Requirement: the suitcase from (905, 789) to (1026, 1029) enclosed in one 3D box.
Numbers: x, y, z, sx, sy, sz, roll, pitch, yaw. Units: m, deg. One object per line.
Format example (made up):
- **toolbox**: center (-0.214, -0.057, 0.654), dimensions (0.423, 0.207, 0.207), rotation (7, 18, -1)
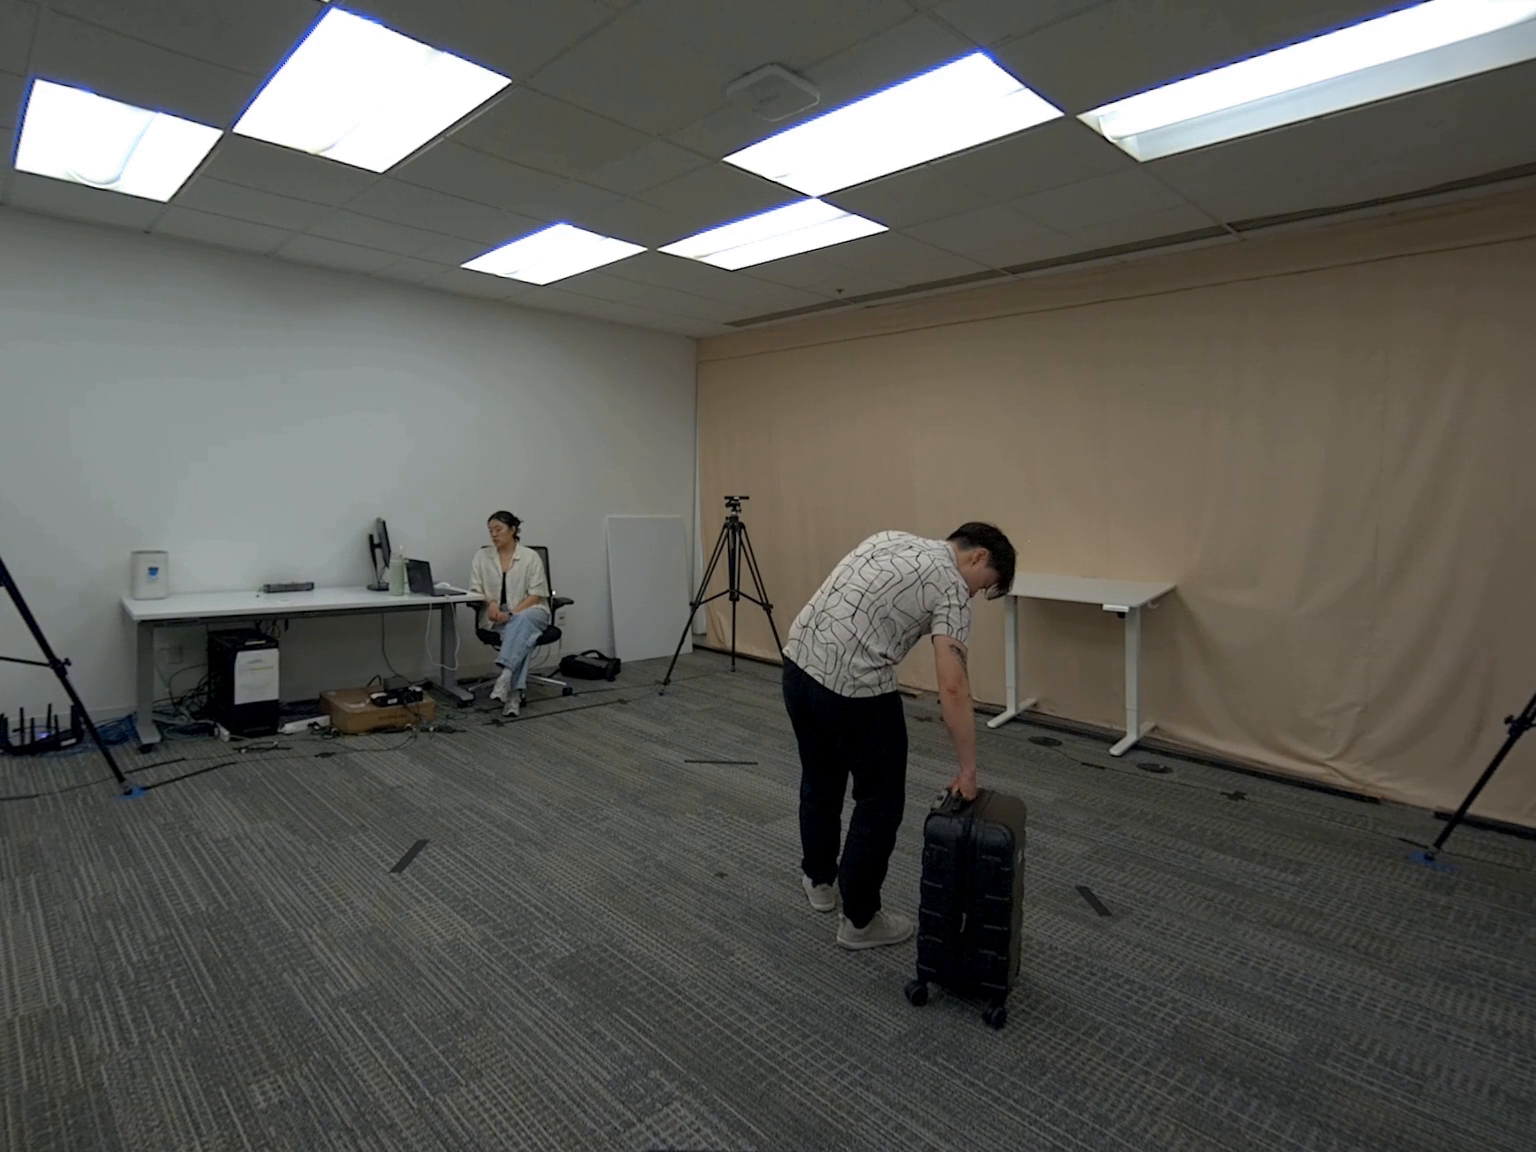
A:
- **suitcase**: center (0.588, 0.911, 2.424), dimensions (0.253, 0.548, 0.369), rotation (4, 3, 24)
